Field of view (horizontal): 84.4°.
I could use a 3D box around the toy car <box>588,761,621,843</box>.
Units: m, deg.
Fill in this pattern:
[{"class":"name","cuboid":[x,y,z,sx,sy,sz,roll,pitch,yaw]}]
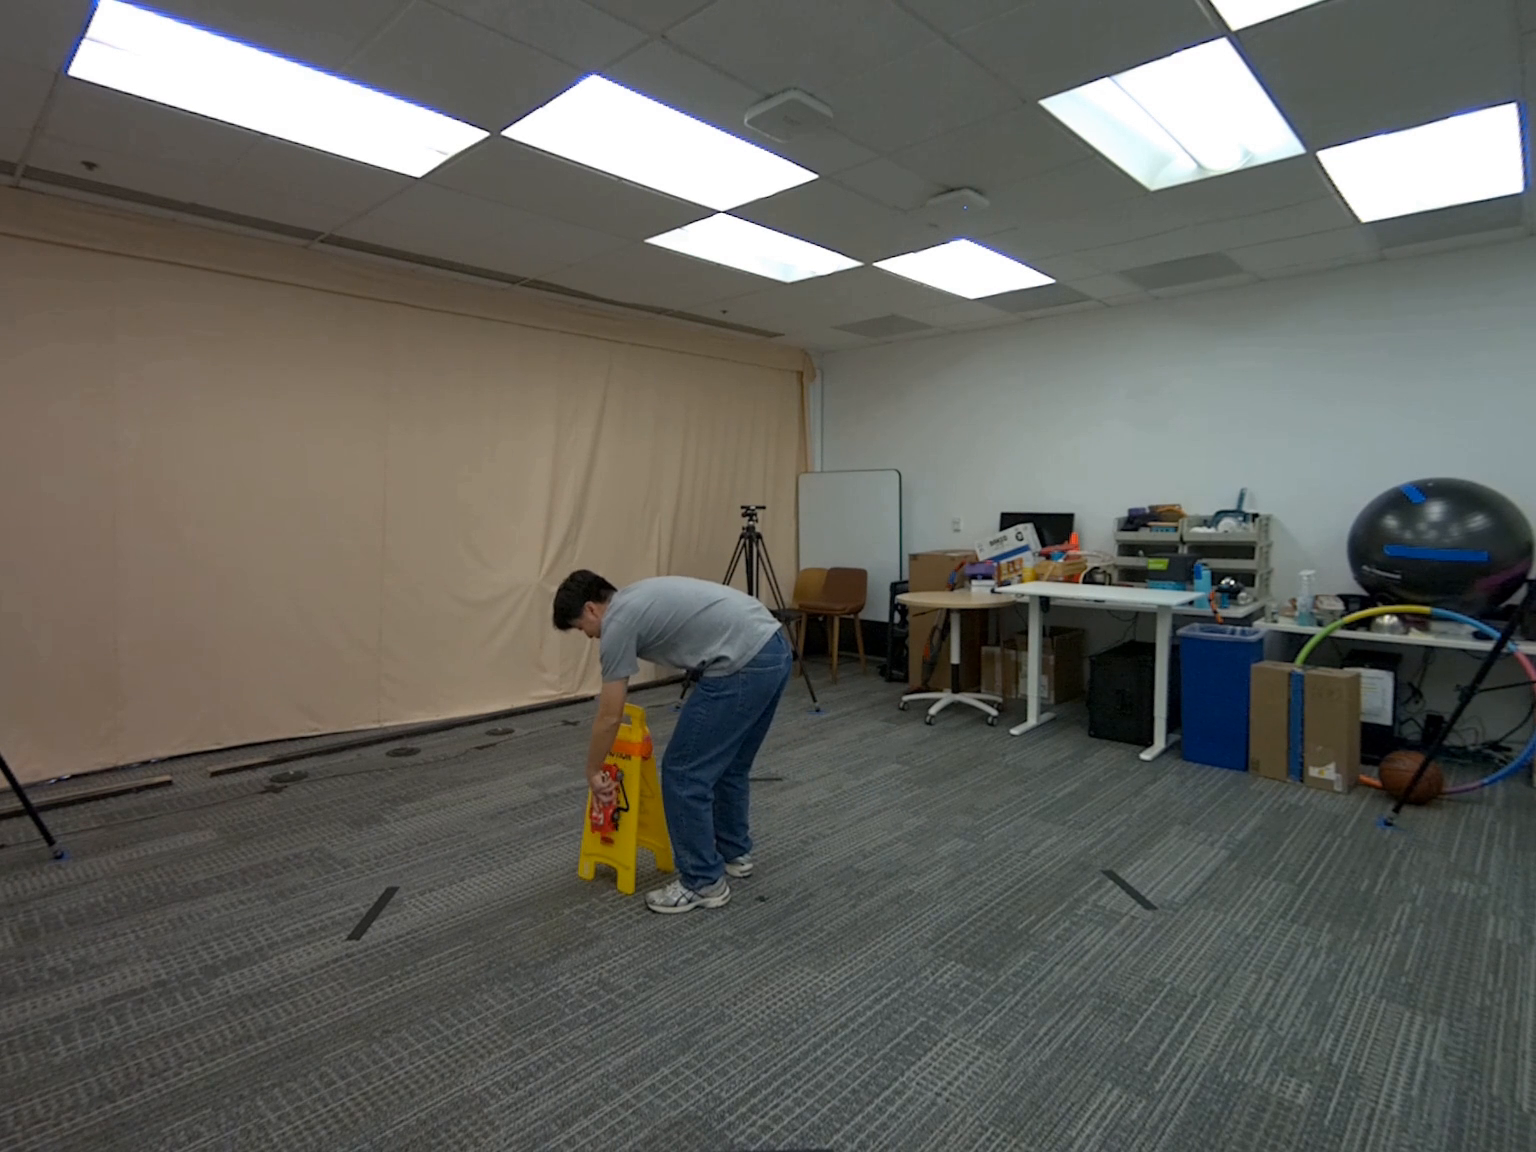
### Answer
[{"class":"toy car","cuboid":[-0.598,0.828,3.109,0.134,0.256,0.080,2,-17,36]}]
